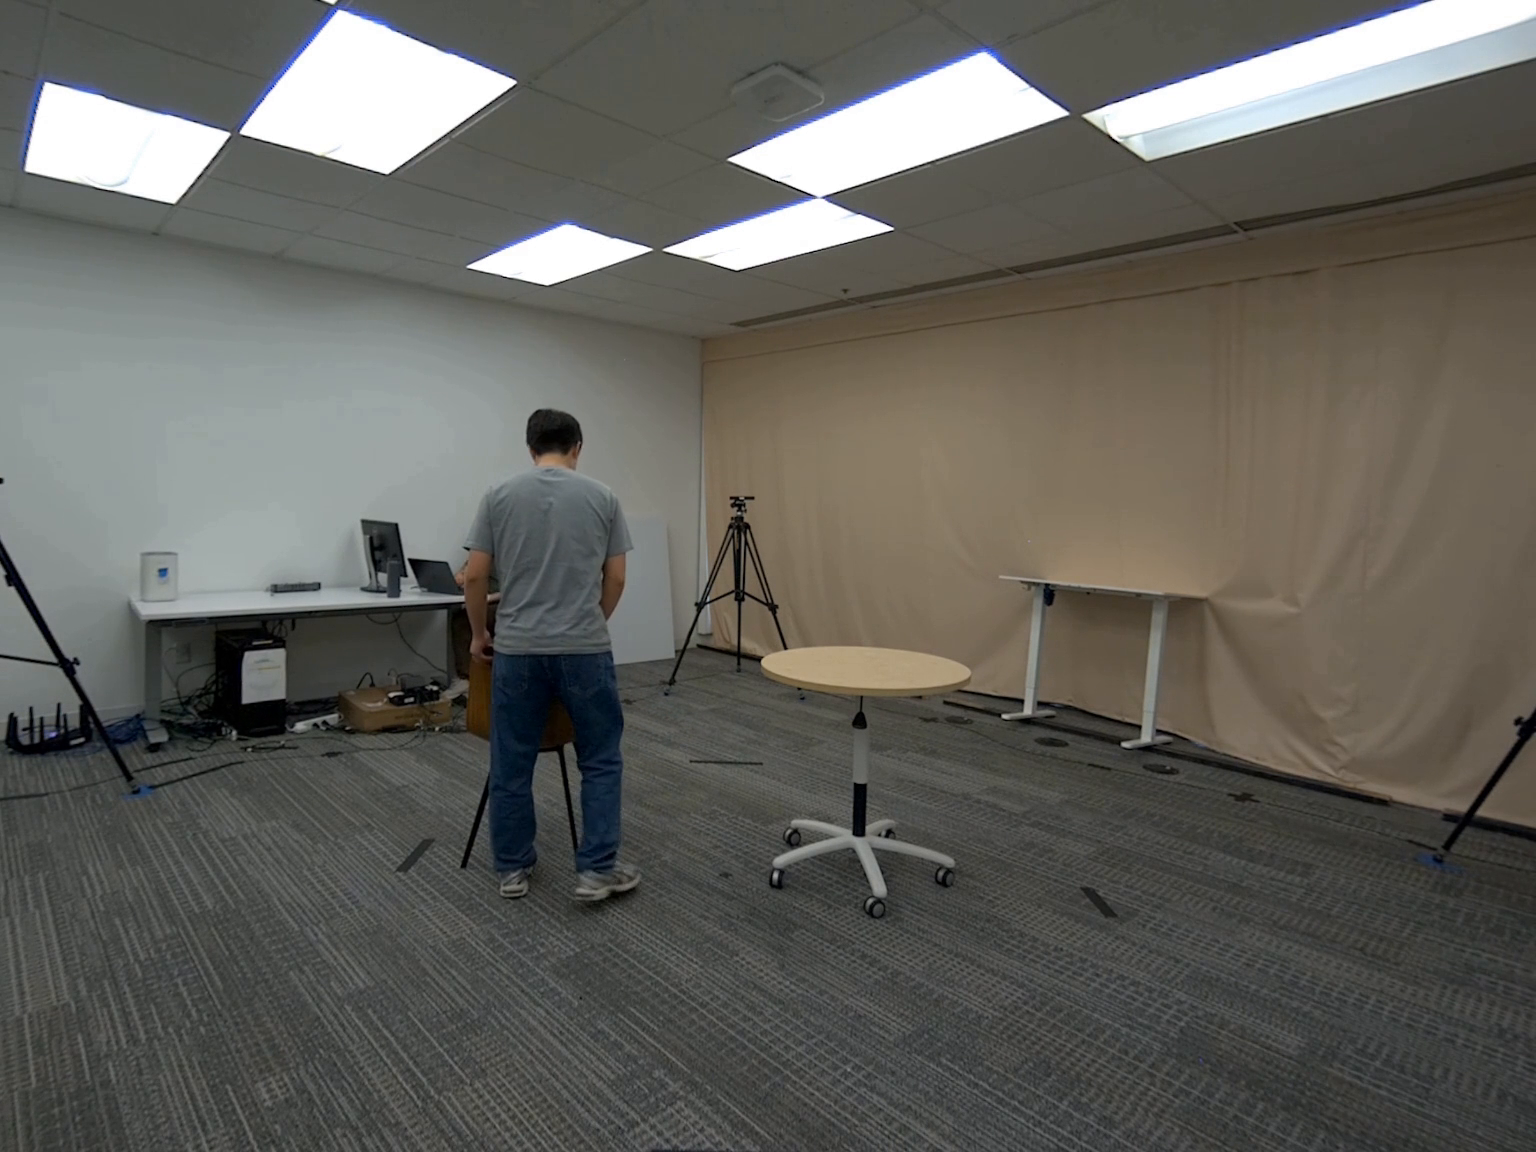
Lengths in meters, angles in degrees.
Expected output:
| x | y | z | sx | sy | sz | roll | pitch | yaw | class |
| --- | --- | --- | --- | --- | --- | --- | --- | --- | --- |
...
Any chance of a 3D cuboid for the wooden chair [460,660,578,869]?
| x | y | z | sx | sy | sz | roll | pitch | yaw | class |
| --- | --- | --- | --- | --- | --- | --- | --- | --- | --- |
| -0.908 | 0.637 | 3.307 | 0.478 | 0.873 | 0.526 | 1 | 7 | -1 | wooden chair |
